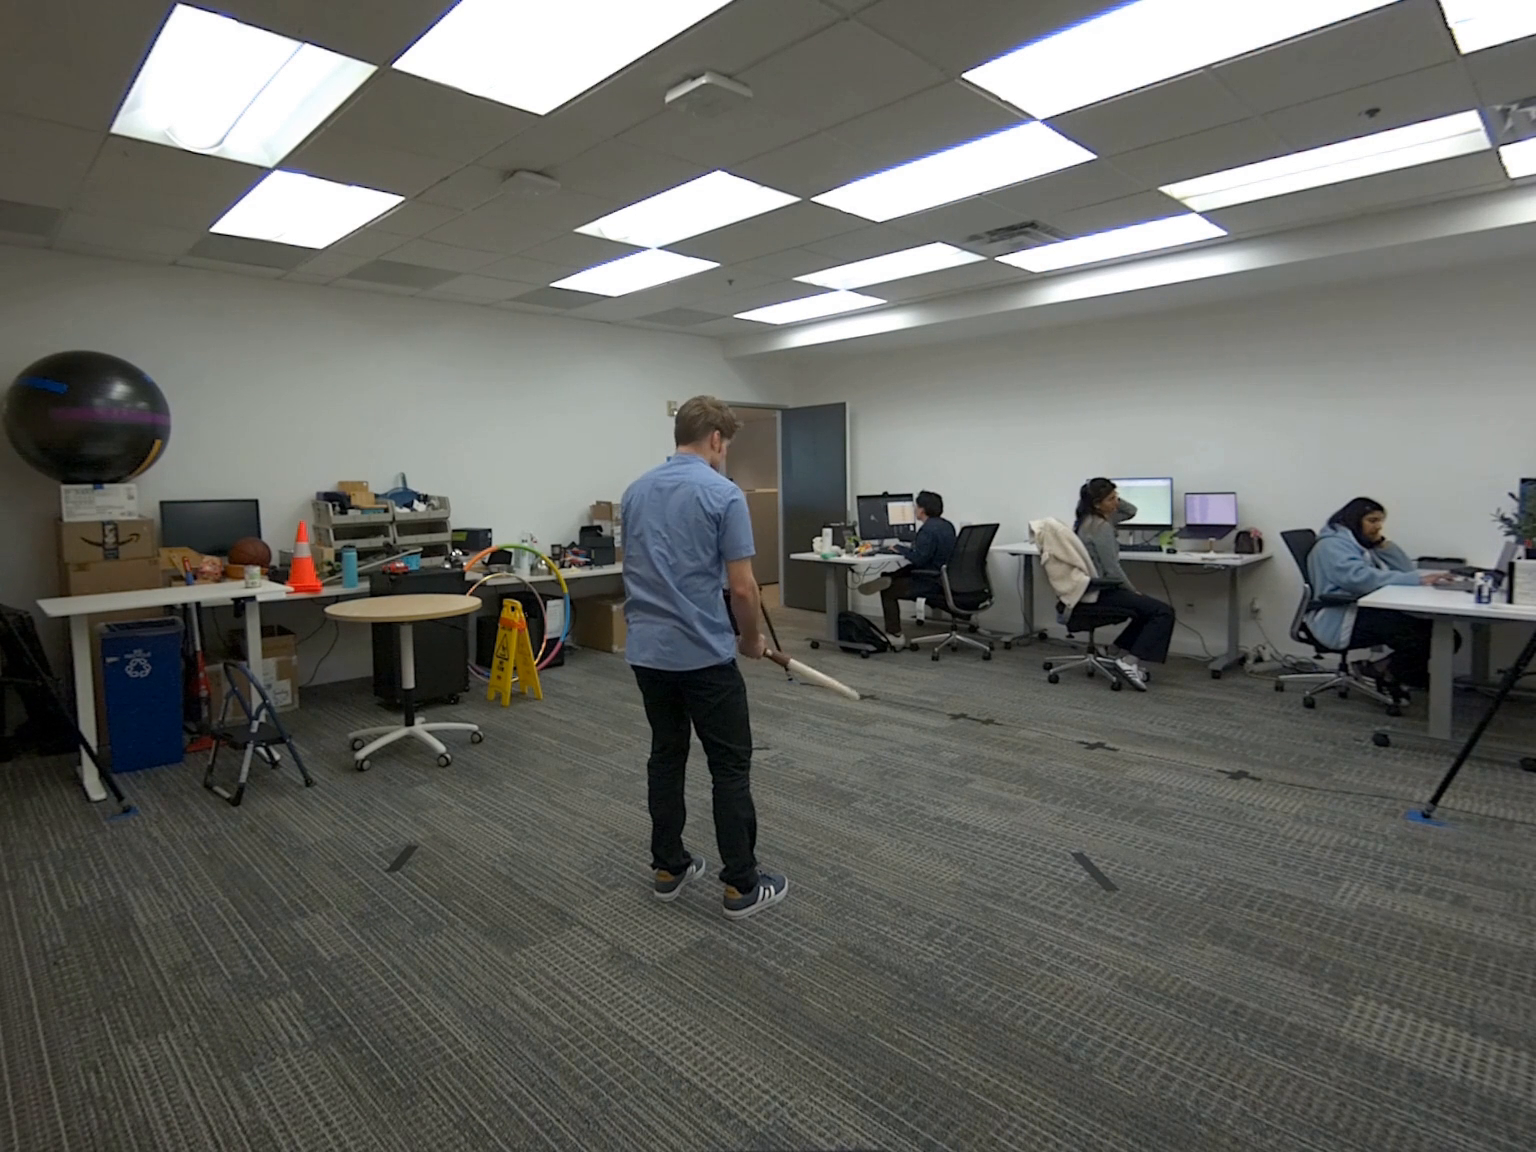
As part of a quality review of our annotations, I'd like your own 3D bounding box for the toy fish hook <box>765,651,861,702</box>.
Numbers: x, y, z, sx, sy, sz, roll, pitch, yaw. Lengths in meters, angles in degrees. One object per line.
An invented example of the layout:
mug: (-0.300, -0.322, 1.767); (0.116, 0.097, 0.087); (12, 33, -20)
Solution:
toy fish hook: (0.095, 0.330, 3.099); (0.500, 0.048, 0.227); (27, -9, -11)
